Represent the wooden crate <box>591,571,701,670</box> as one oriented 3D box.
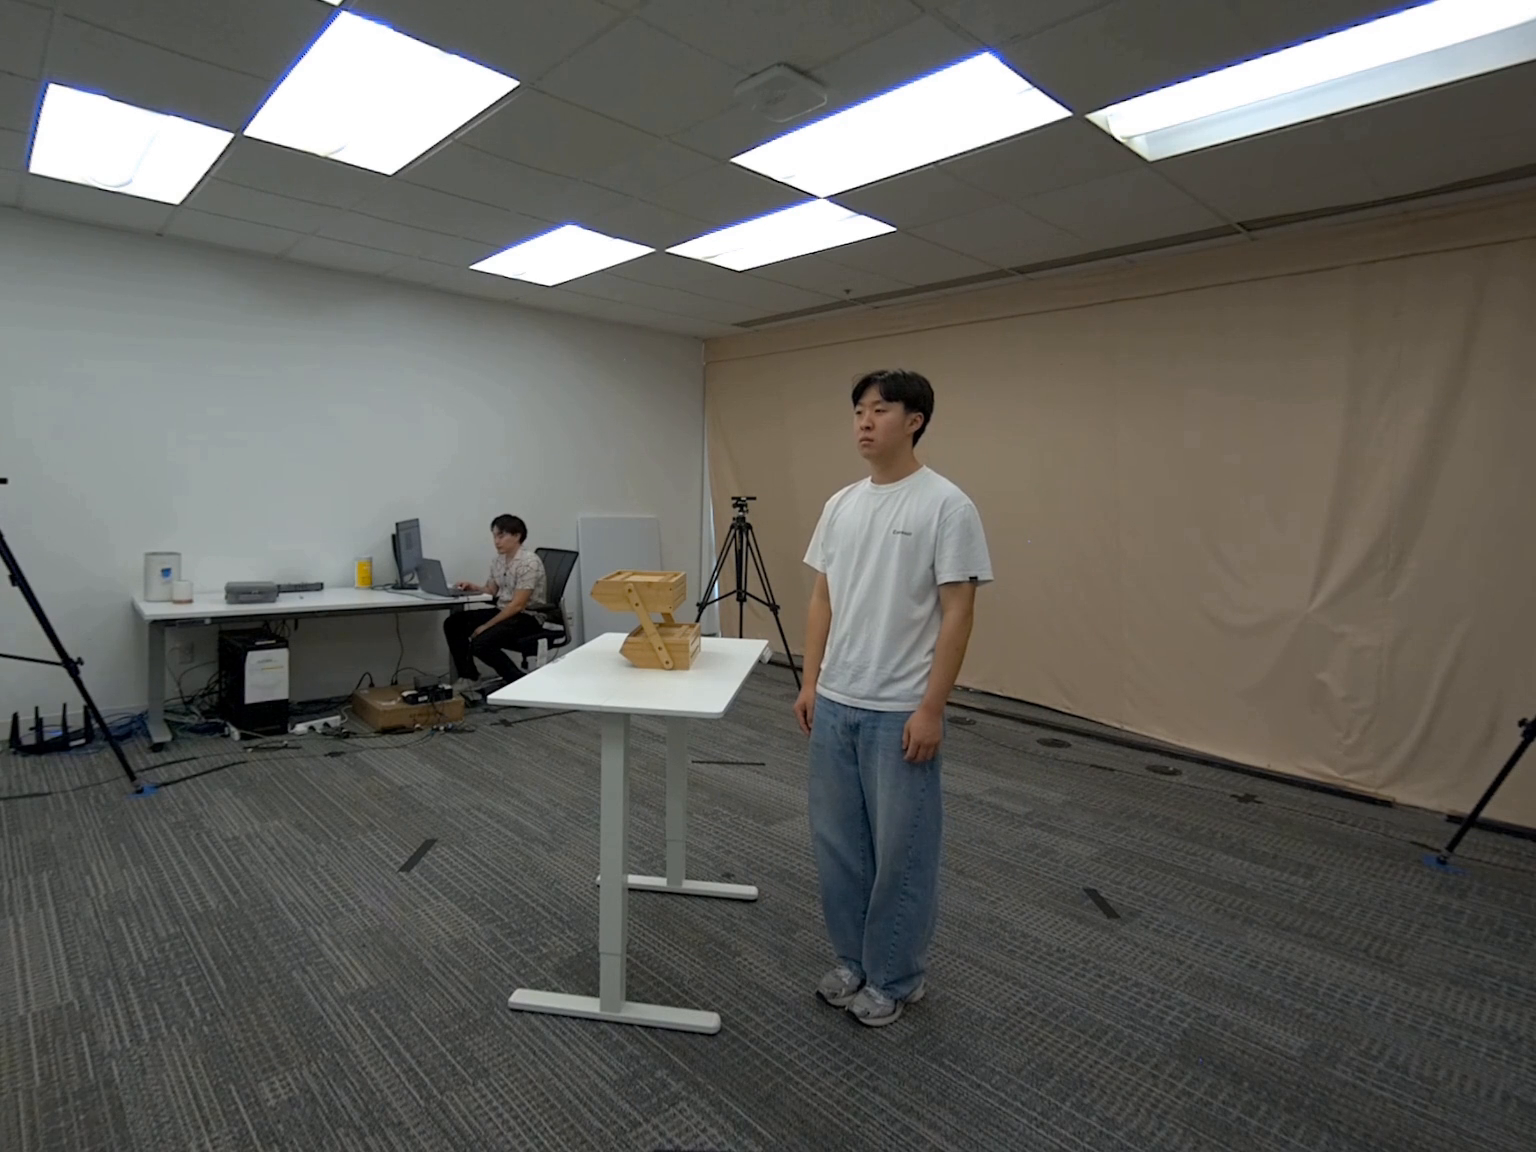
[{"bbox_3d":[-0.383,0.140,2.628,0.303,0.272,0.324,2,6,5],"label":"wooden crate"}]
